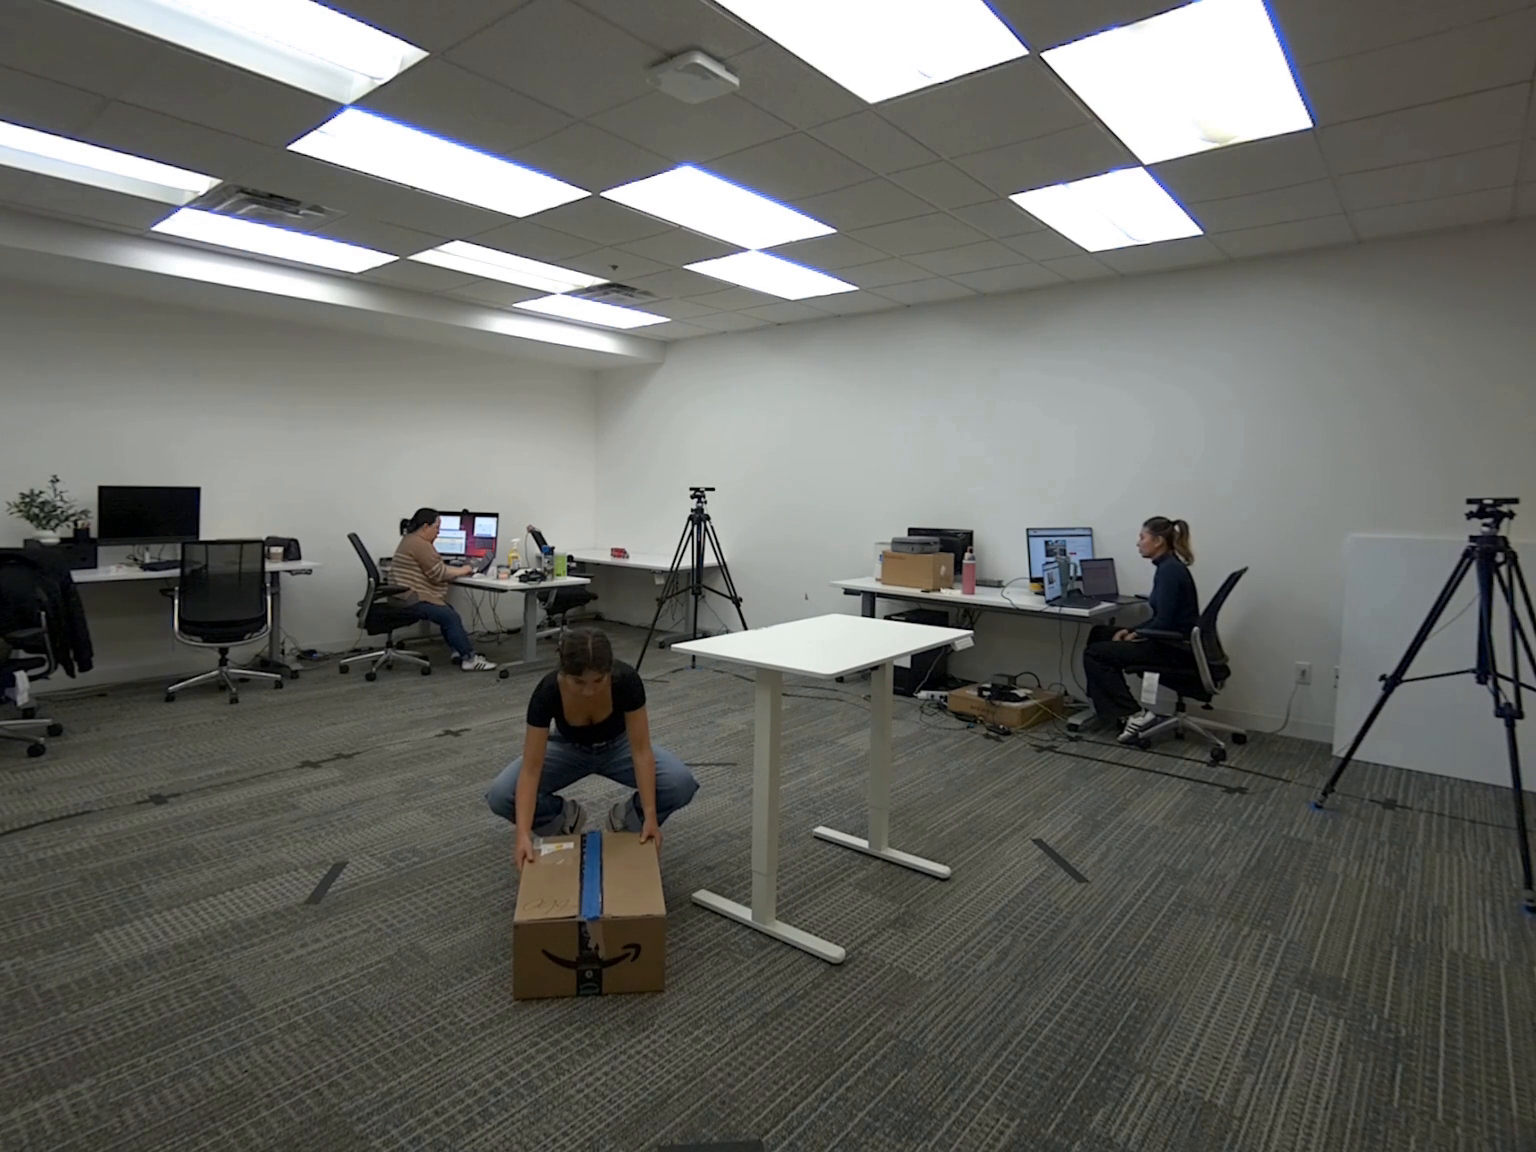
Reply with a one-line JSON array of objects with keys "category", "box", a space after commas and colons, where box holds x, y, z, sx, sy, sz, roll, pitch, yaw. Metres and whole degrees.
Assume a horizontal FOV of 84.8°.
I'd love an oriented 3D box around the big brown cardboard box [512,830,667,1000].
[{"category": "big brown cardboard box", "box": [-0.548, 1.004, 2.589, 0.413, 0.232, 0.598, 0, 6, -11]}]
